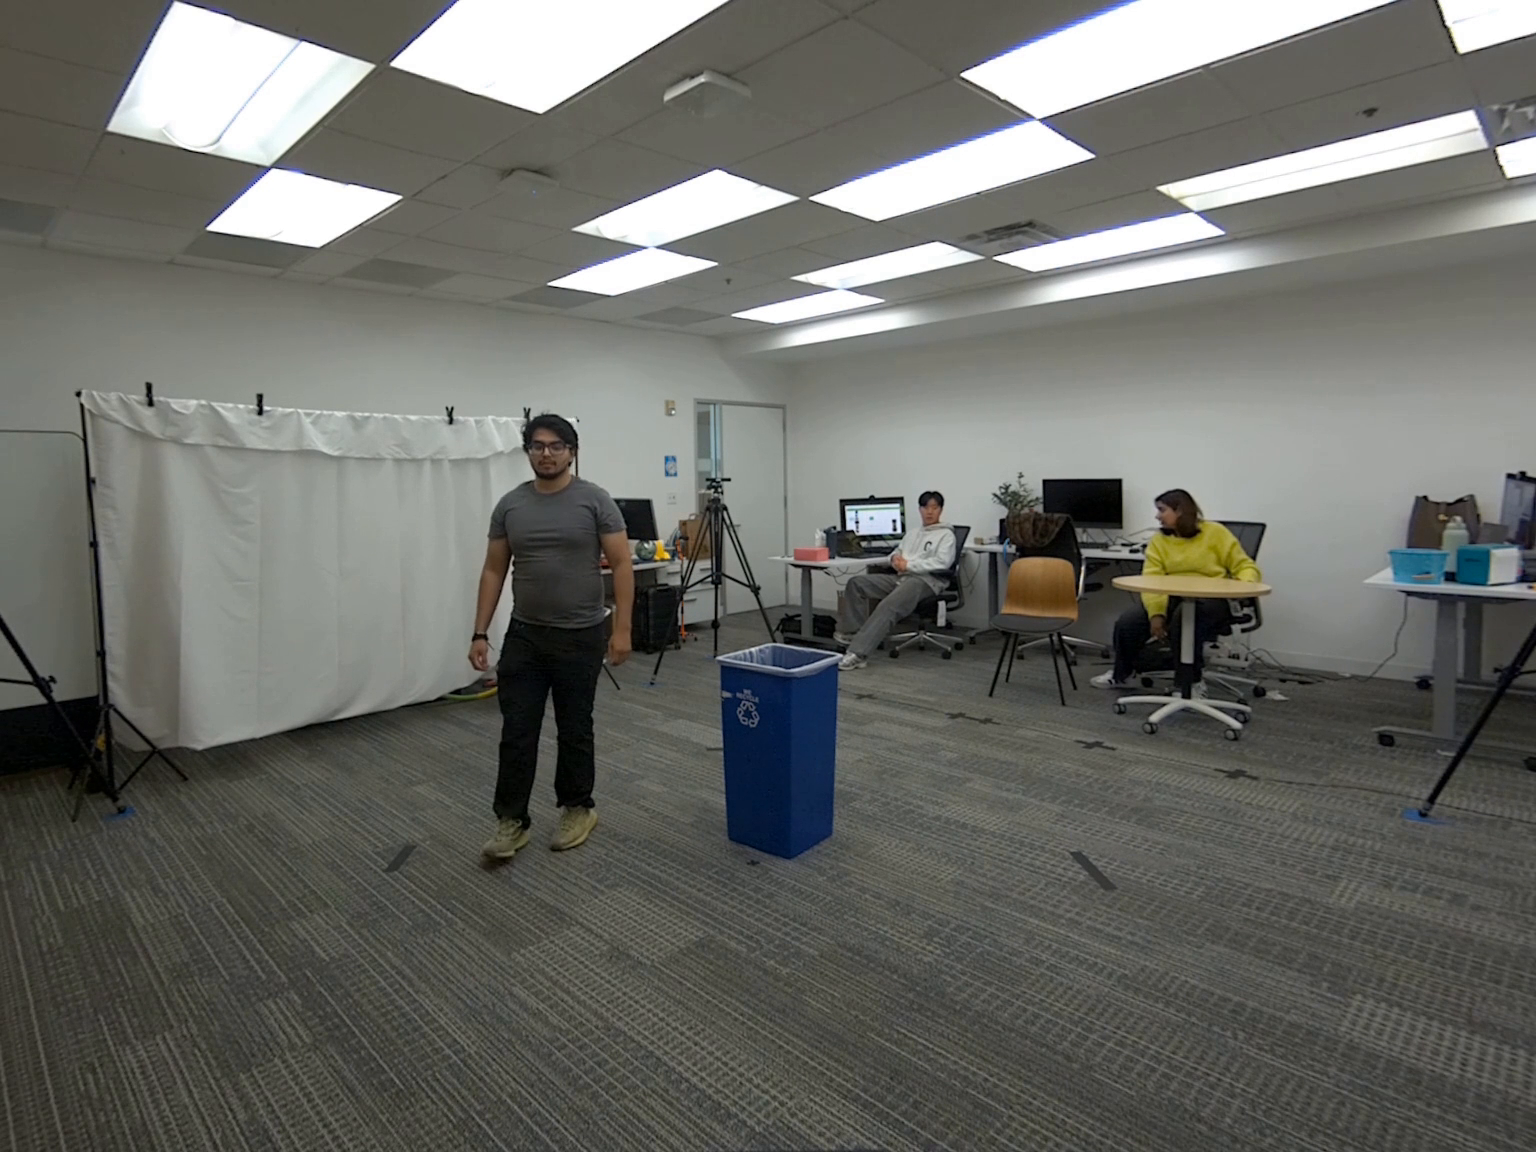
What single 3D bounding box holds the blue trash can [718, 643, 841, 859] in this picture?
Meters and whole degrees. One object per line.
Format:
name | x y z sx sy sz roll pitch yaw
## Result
blue trash can | 0.055 0.657 3.301 0.385 0.711 0.368 3 6 38
